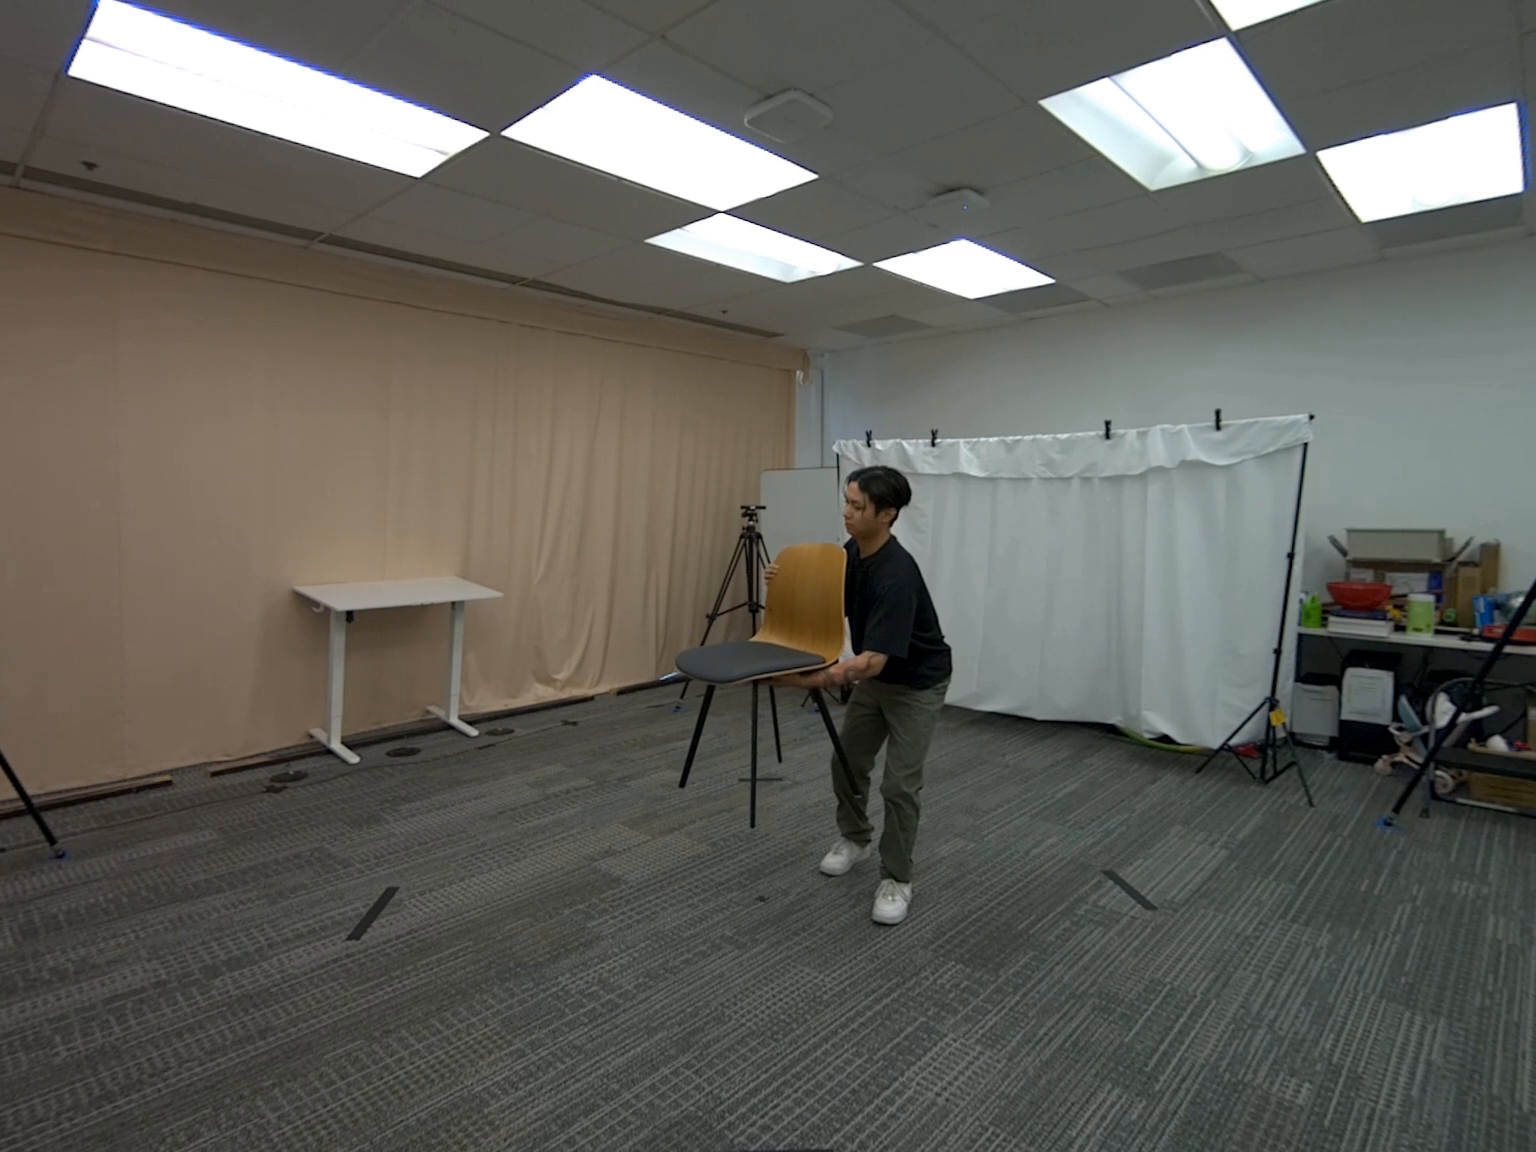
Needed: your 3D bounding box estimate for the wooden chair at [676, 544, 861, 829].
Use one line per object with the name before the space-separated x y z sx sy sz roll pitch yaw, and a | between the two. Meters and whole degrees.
wooden chair | -0.017 0.332 2.877 0.507 0.876 0.493 0 4 -36
